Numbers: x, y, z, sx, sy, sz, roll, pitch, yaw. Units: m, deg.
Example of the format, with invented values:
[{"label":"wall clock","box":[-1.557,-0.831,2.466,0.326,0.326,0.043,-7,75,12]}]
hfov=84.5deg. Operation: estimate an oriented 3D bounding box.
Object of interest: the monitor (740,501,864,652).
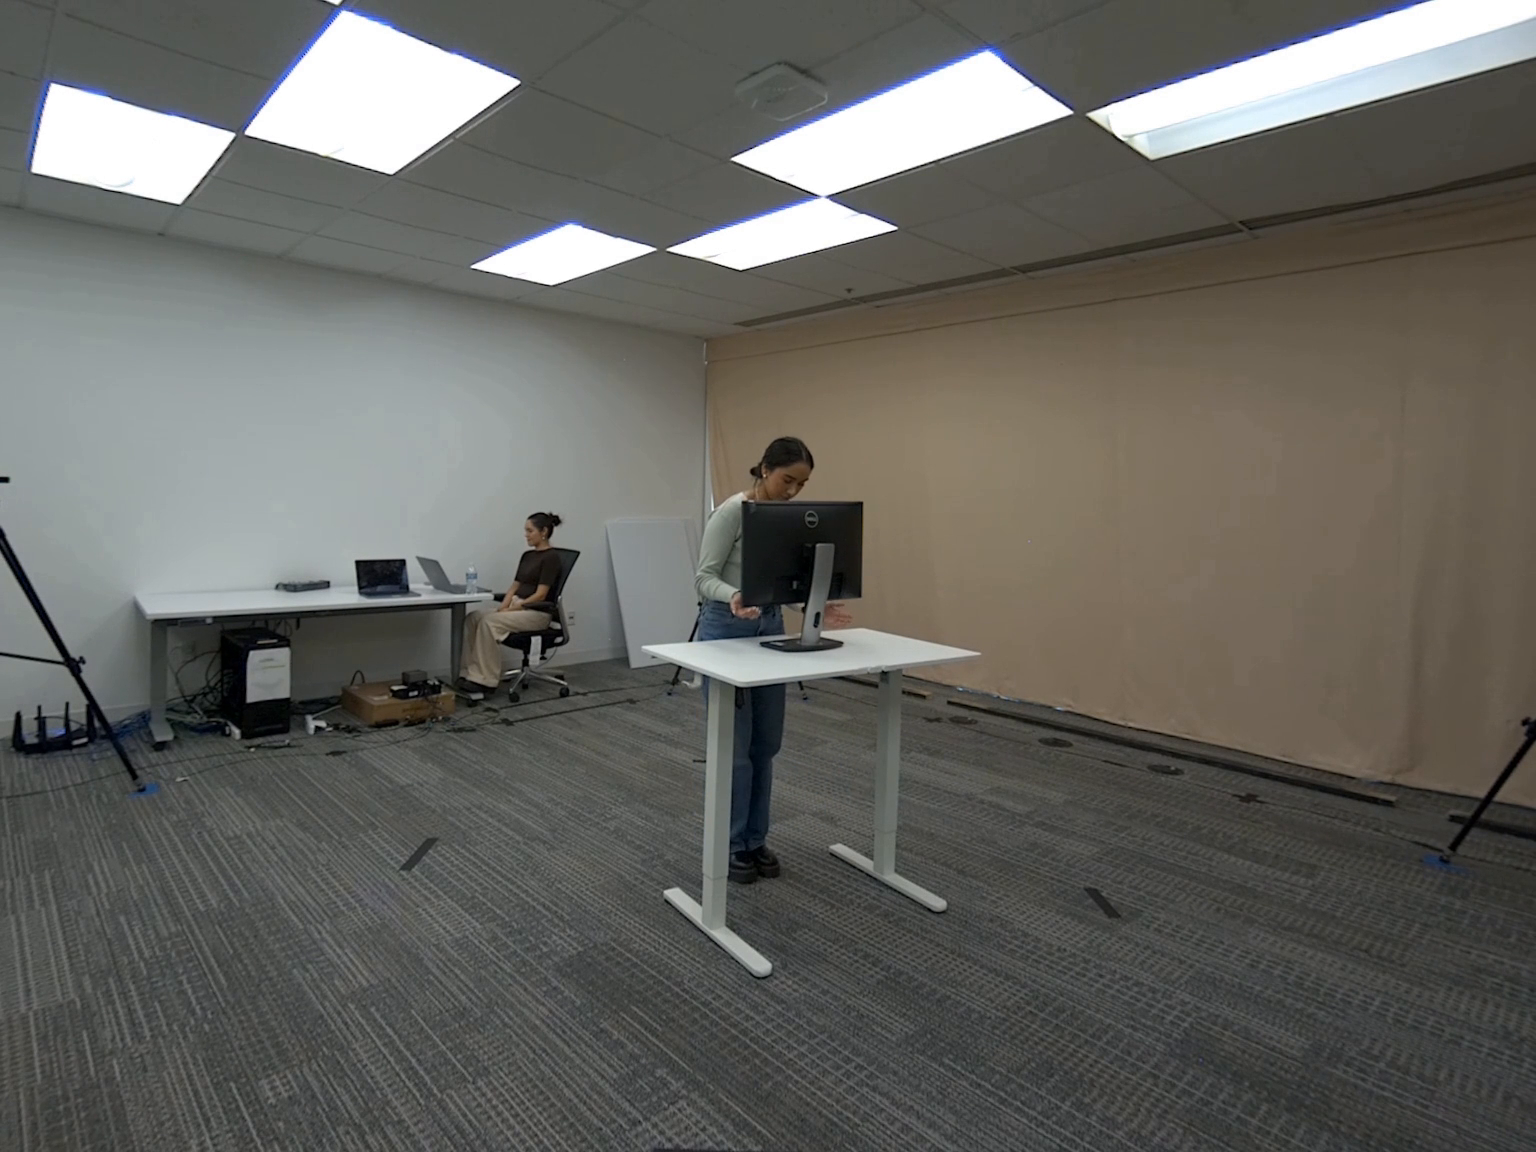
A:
[{"label":"monitor","box":[0.124,0.003,2.904,0.527,0.523,0.191,-2,-2,-36]}]
